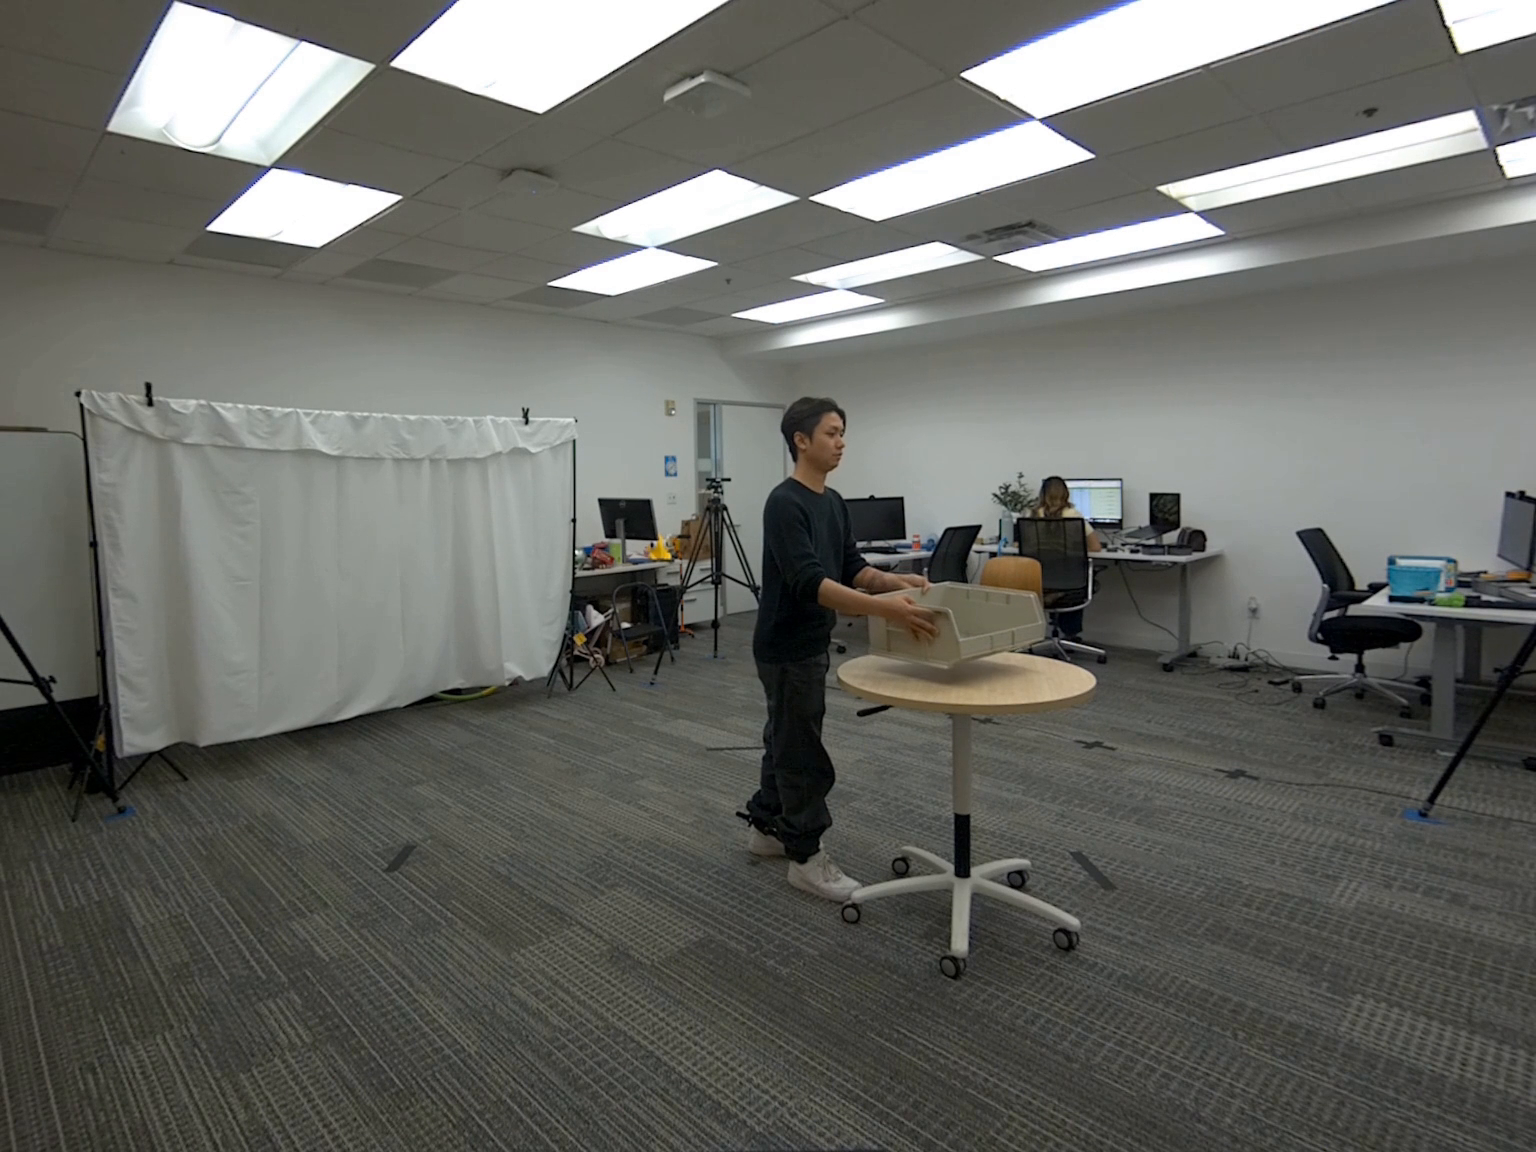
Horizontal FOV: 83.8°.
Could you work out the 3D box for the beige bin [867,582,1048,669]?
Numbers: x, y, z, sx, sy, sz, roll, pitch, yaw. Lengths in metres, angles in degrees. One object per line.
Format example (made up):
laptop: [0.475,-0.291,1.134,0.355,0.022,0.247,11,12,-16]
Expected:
beige bin: [0.587,0.149,2.677,0.412,0.188,0.388,-9,8,-37]
